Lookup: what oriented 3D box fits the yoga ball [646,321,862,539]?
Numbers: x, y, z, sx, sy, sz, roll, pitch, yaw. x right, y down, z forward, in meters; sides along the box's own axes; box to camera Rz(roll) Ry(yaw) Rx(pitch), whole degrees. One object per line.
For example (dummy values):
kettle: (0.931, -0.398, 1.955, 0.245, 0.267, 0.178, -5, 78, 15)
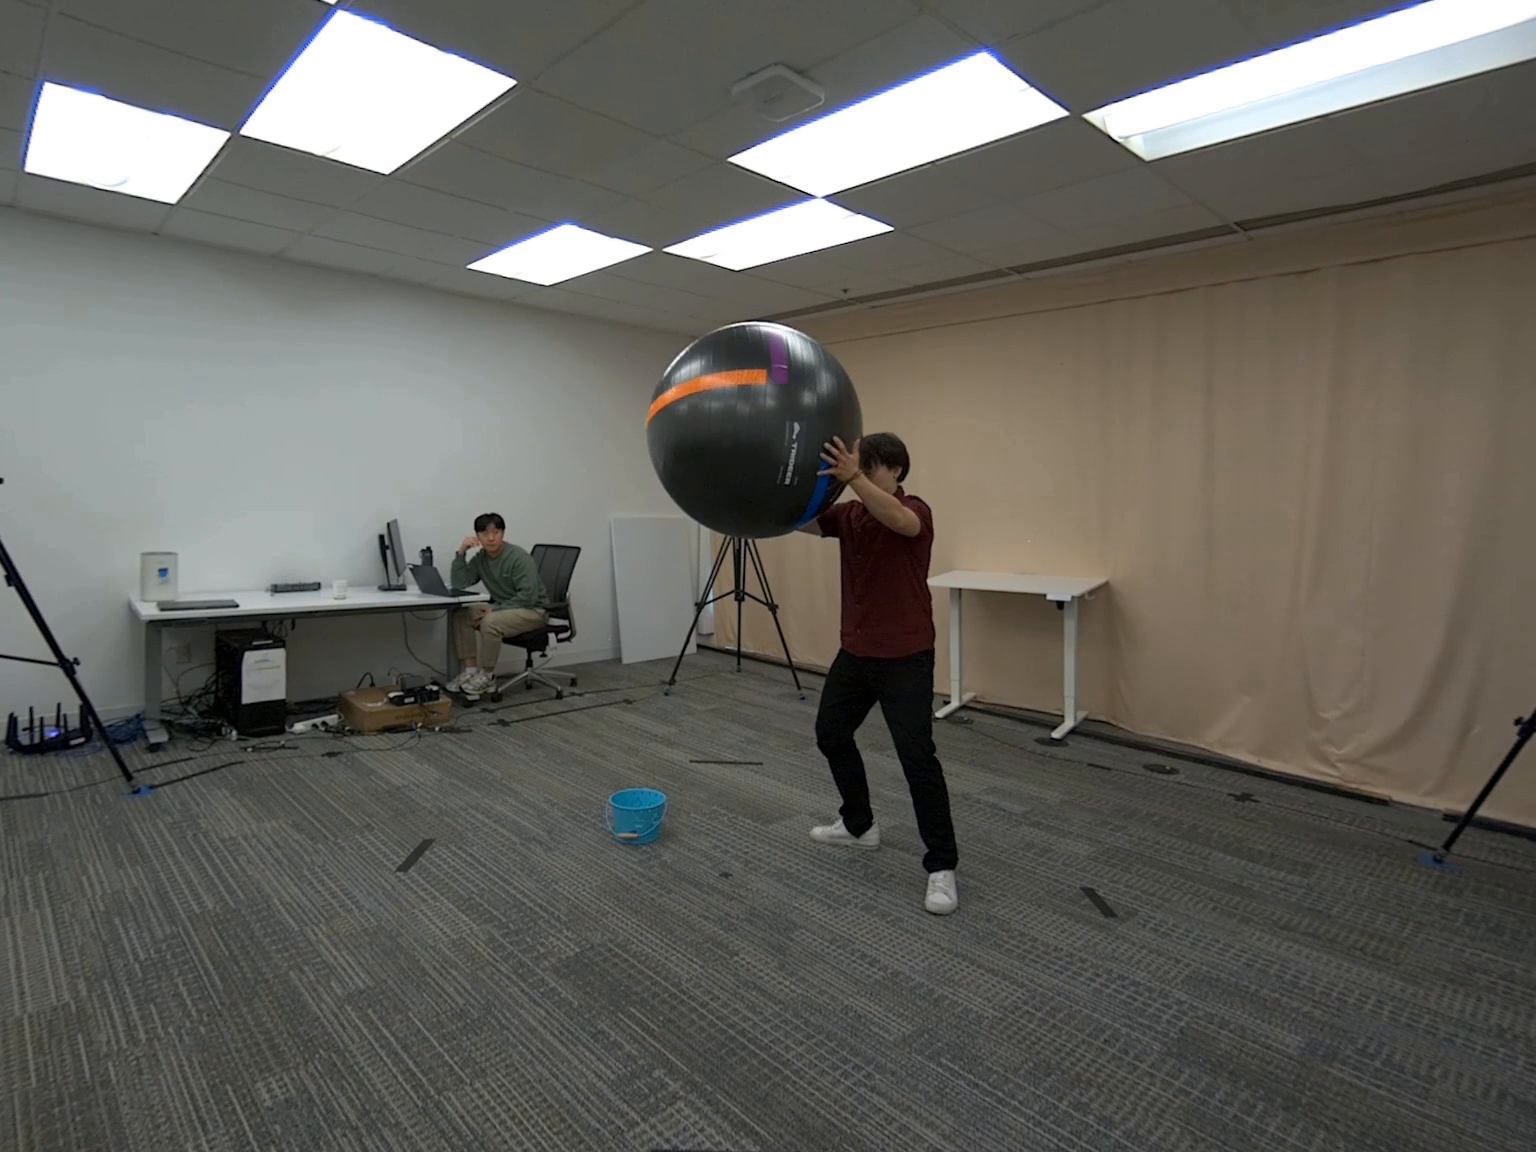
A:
yoga ball: (-0.059, -0.496, 2.988, 0.757, 0.756, 0.761, 1, 4, -1)
